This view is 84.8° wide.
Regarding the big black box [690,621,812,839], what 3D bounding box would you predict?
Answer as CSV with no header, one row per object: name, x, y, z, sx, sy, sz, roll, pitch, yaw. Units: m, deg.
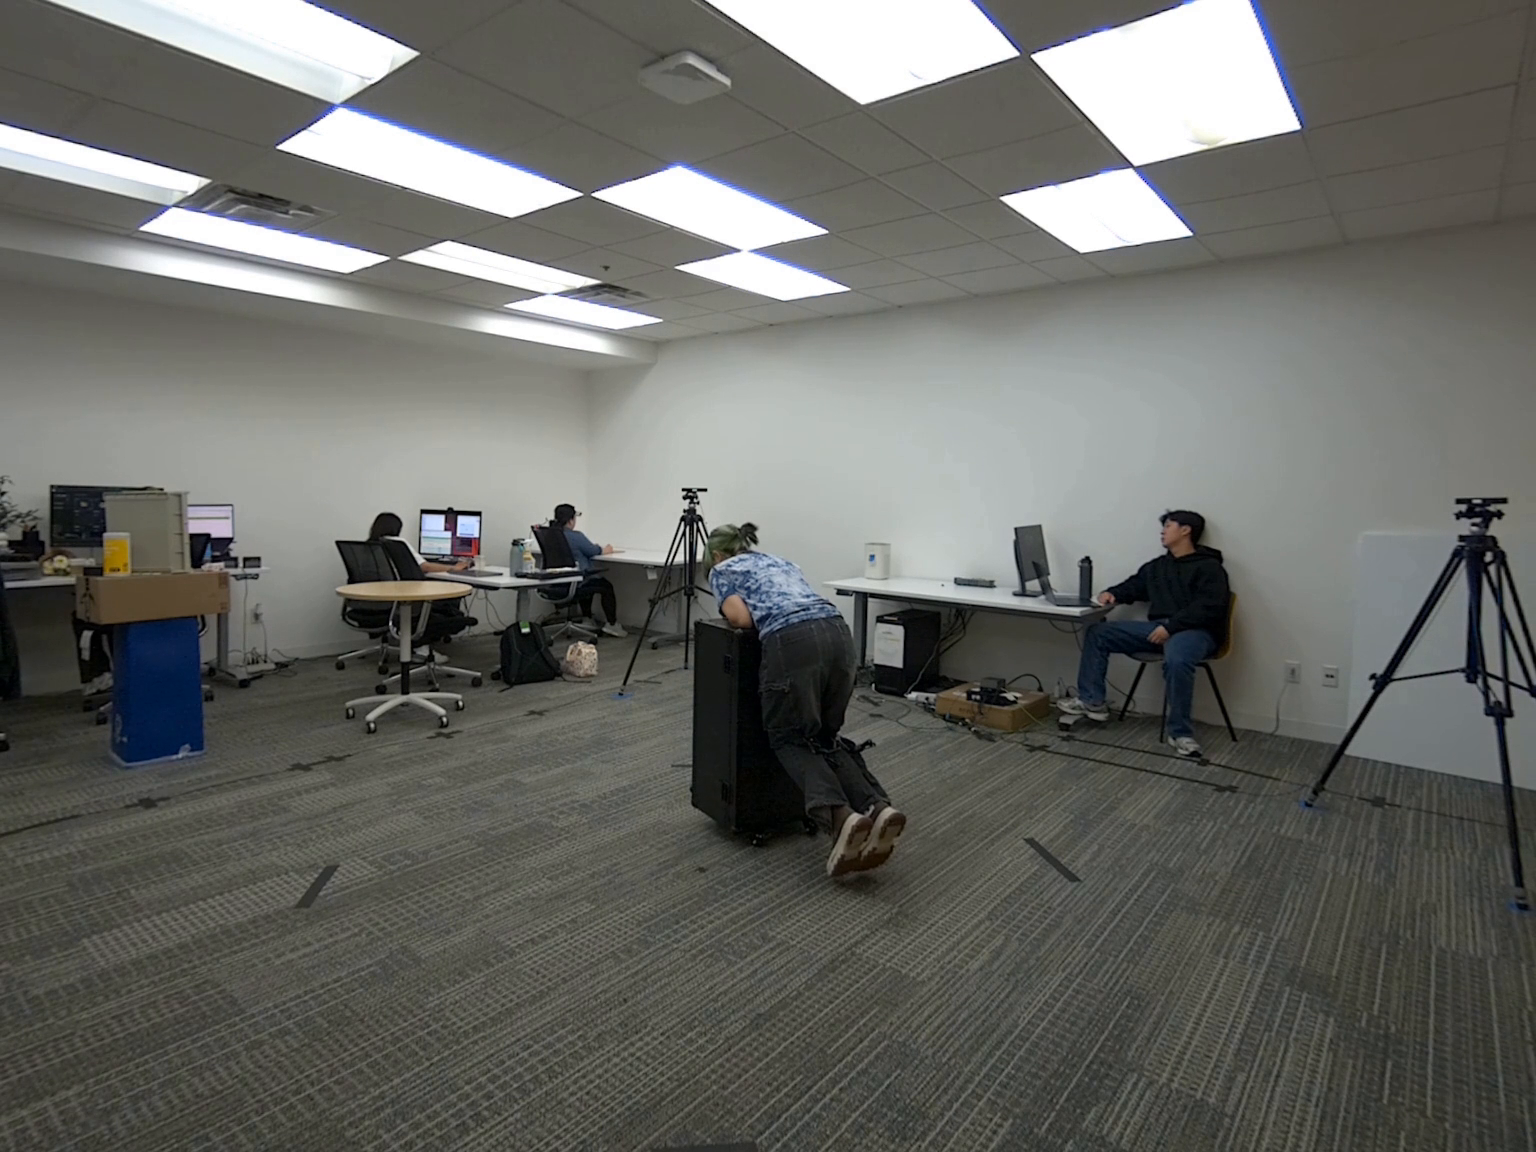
big black box,-0.034,0.557,3.517,0.507,0.859,0.408,-1,3,-32
